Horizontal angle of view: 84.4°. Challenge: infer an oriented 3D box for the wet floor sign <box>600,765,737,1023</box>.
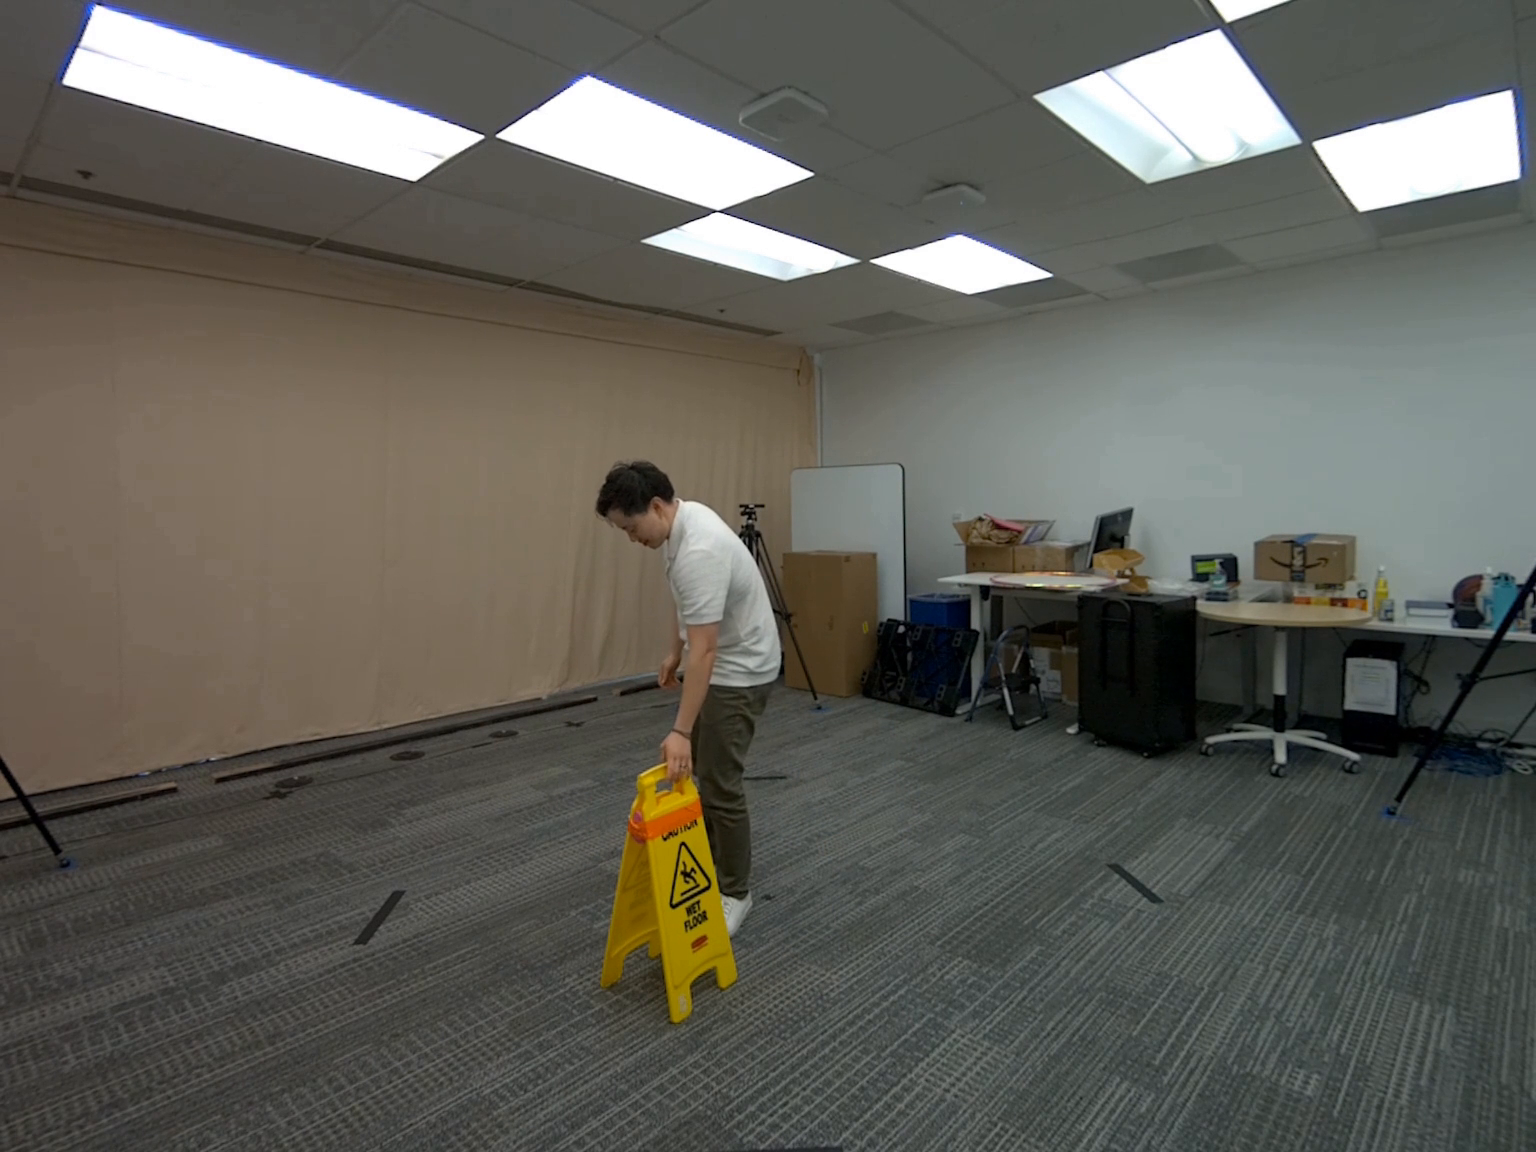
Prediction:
[{"bbox_3d":[-0.298,0.871,2.436,0.299,0.645,0.274,1,4,38],"label":"wet floor sign"}]
